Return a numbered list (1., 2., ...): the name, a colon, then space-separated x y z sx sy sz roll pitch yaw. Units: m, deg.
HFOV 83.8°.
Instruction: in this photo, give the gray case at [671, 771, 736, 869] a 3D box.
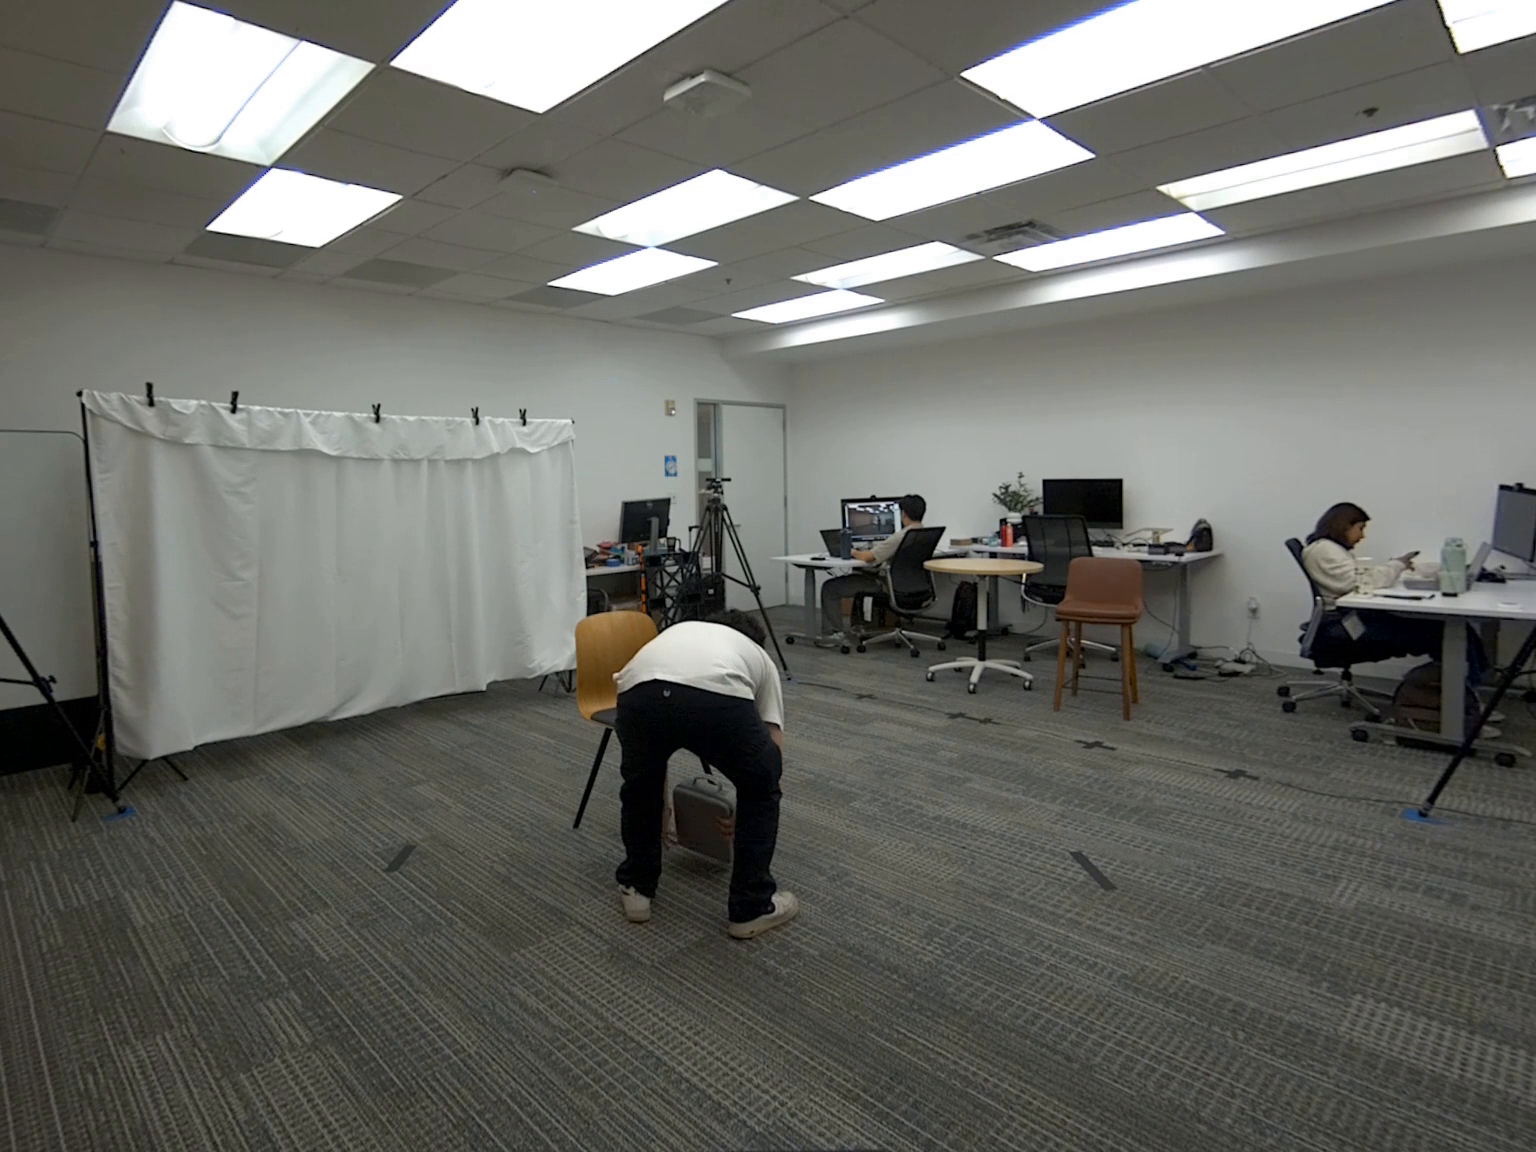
1. gray case: -0.211 0.878 3.098 0.264 0.257 0.102 6 15 31
